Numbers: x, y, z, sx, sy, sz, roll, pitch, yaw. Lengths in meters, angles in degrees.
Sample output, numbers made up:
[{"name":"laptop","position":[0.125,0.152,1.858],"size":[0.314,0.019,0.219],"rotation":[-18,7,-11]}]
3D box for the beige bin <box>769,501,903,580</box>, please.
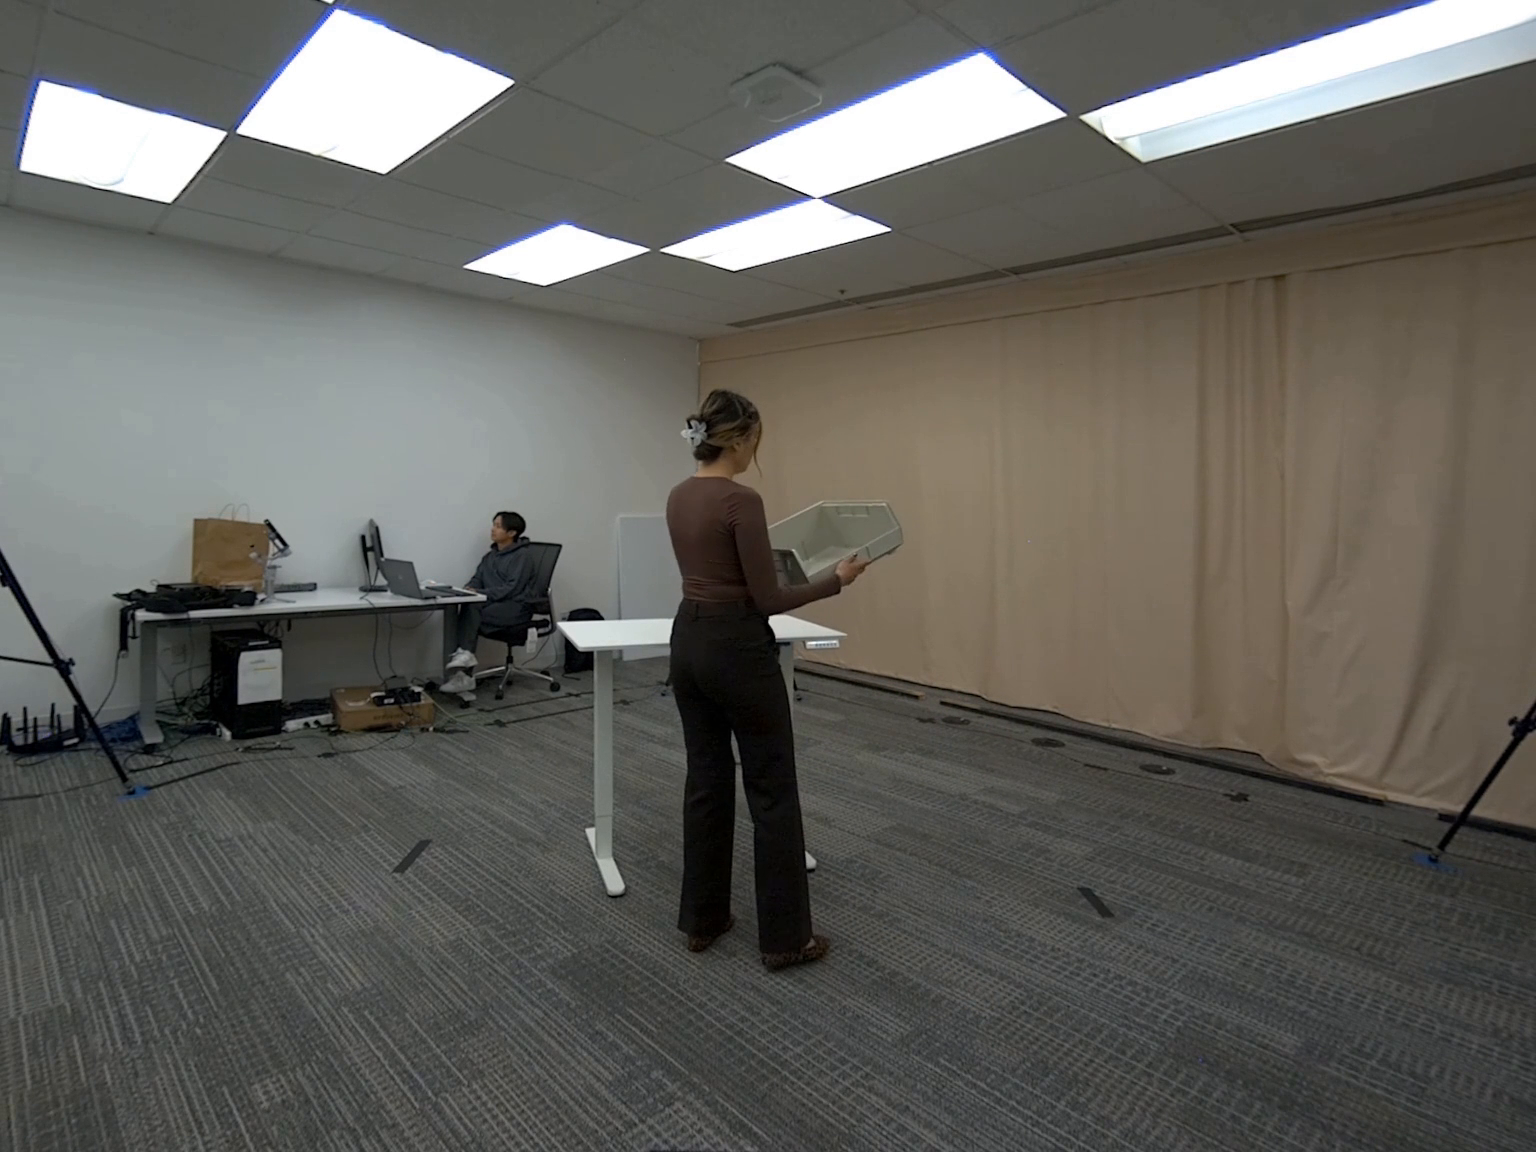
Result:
[{"name":"beige bin","position":[0.165,-0.089,2.794],"size":[0.418,0.186,0.386],"rotation":[-27,17,-29]}]
